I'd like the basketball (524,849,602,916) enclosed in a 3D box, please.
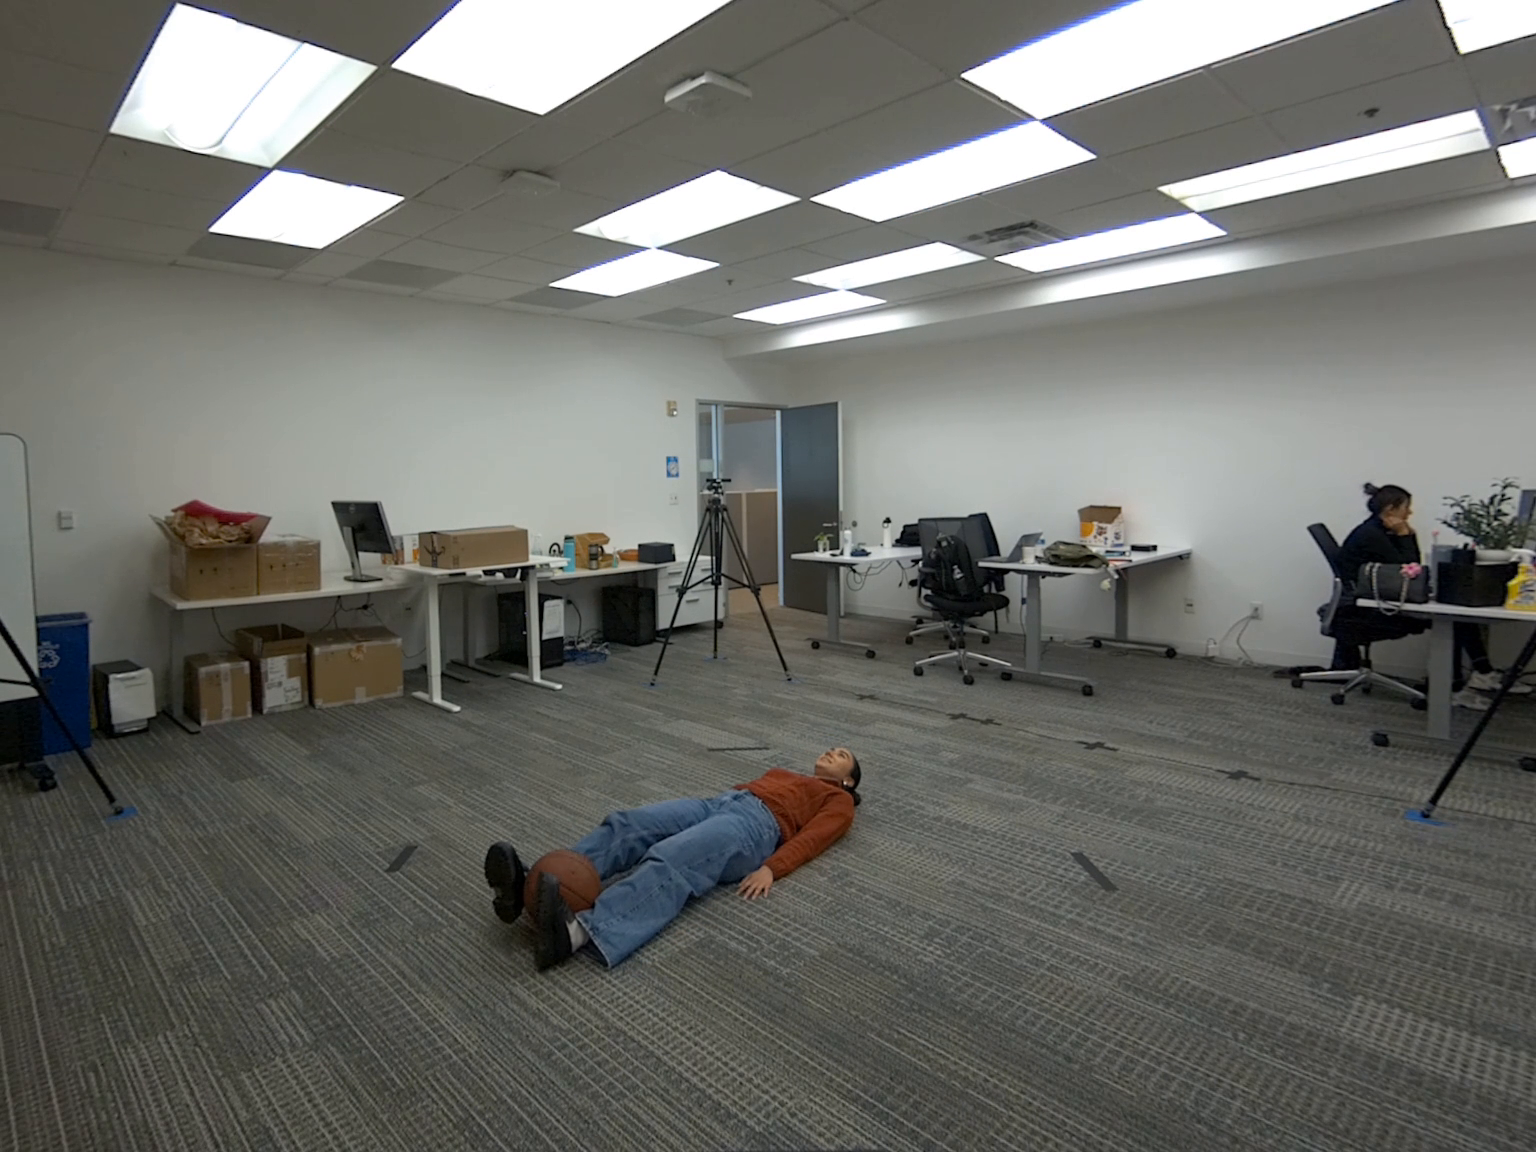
[{"bbox_3d":[-0.636,0.968,2.638,0.236,0.235,0.237,-1,5,-2],"label":"basketball"}]
